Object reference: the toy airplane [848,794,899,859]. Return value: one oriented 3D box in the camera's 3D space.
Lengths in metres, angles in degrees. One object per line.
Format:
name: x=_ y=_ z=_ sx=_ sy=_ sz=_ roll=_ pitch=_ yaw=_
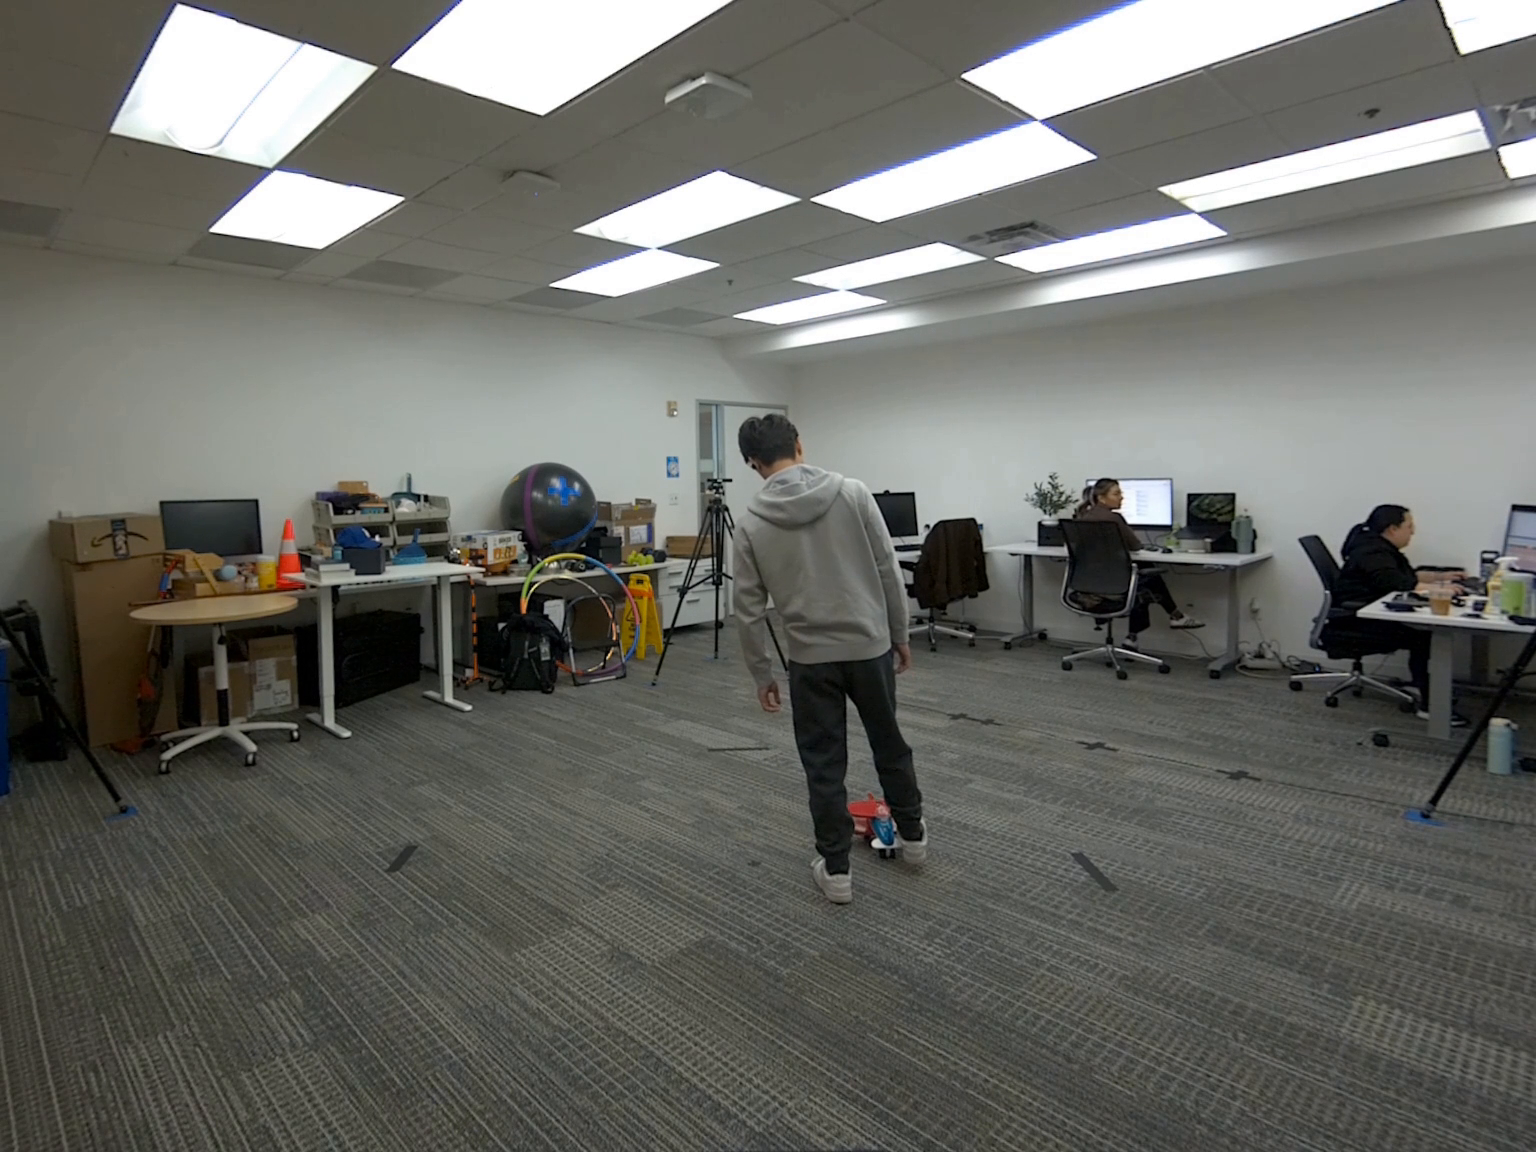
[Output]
toy airplane: x=0.449 y=0.949 z=3.229 sx=0.245 sy=0.156 sz=0.266 roll=-3 pitch=6 yaw=-30
